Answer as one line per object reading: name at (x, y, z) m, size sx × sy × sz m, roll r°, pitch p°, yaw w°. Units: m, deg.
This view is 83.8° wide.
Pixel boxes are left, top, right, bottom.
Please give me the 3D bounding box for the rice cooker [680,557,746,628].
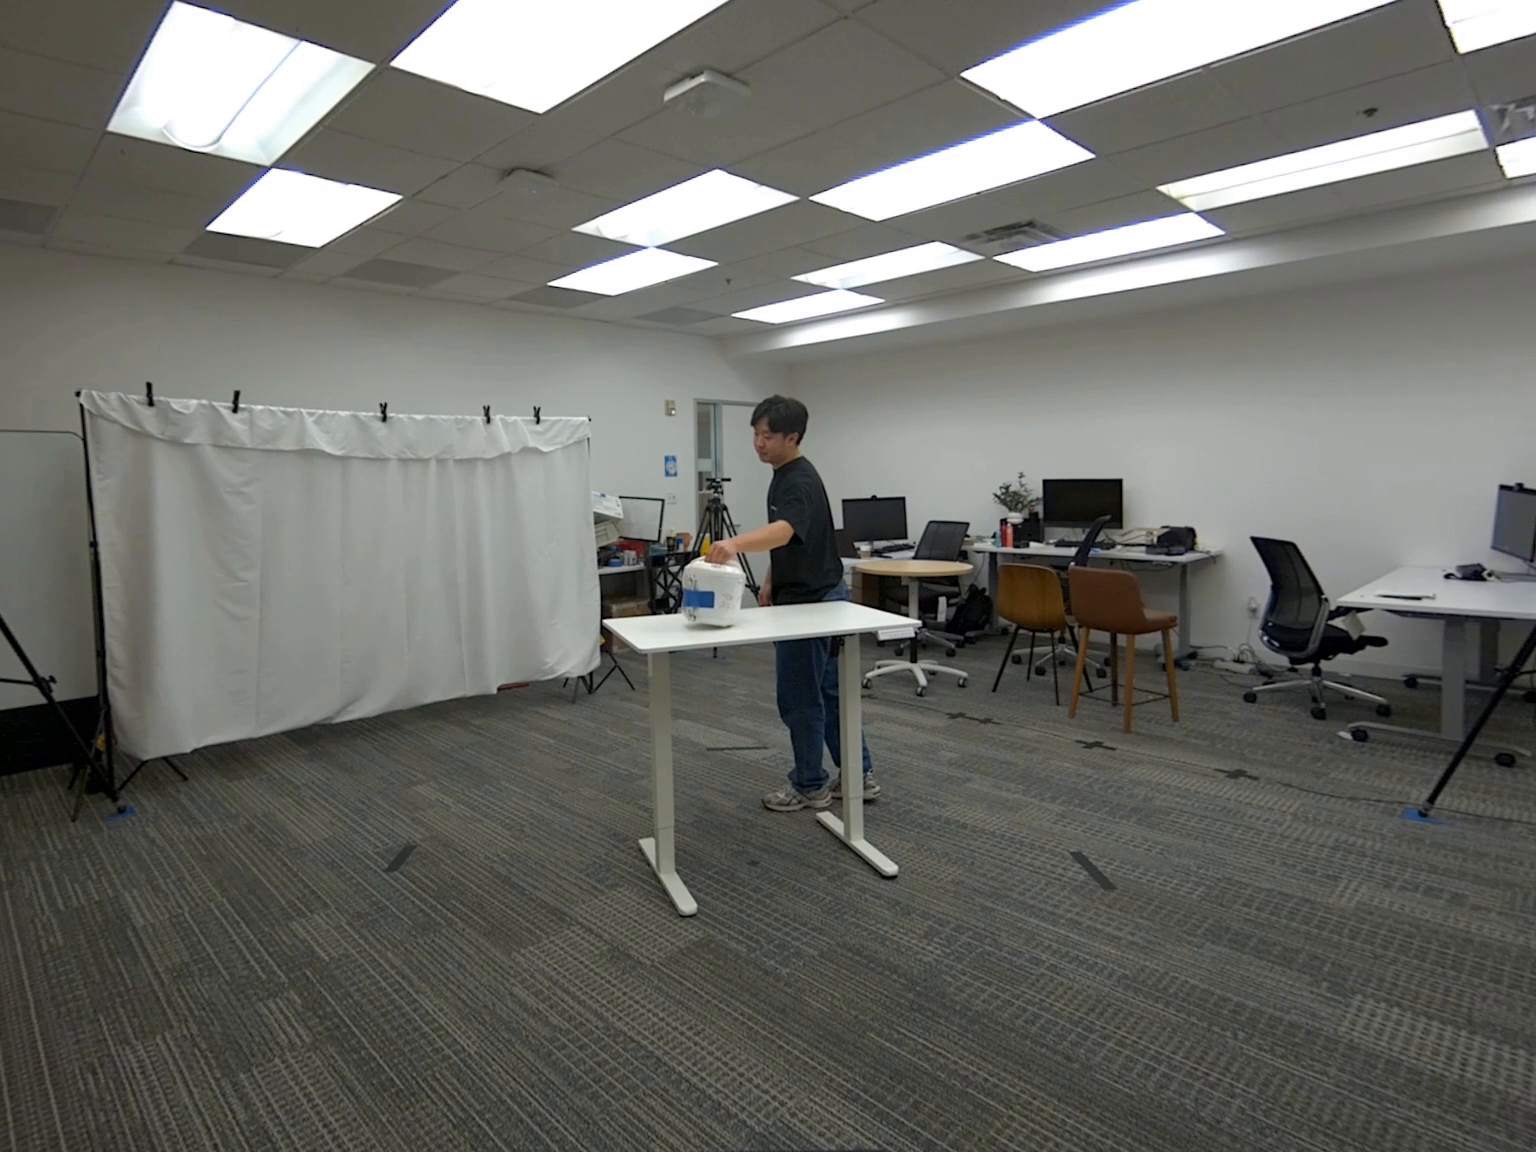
rice cooker at (-0.188, 0.047, 2.991) m, size 0.219 × 0.232 × 0.219 m, roll 8°, pitch 2°, yaw -8°
